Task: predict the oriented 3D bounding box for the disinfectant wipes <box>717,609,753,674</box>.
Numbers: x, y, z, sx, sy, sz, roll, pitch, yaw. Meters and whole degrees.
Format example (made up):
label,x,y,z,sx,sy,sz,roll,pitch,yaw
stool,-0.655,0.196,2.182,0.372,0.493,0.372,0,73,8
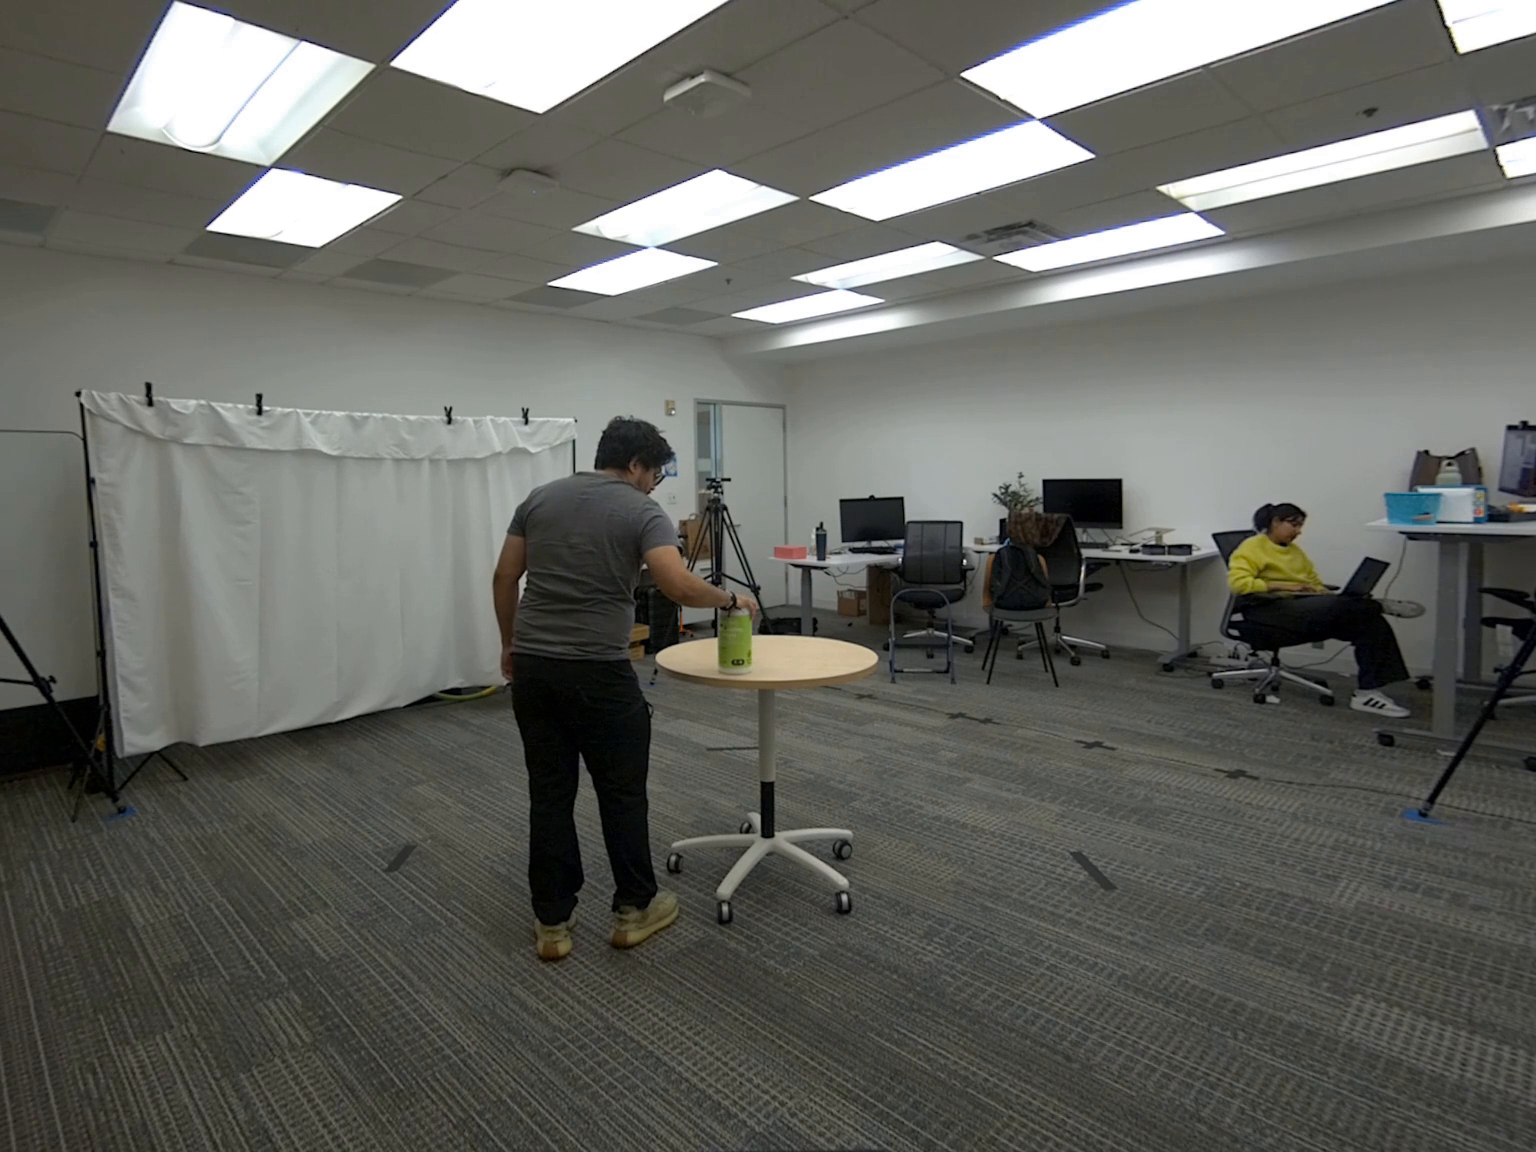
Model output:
label,x,y,z,sx,sy,sz,roll,pitch,yaw
disinfectant wipes,-0.096,0.197,2.712,0.118,0.216,0.118,-1,5,-2
